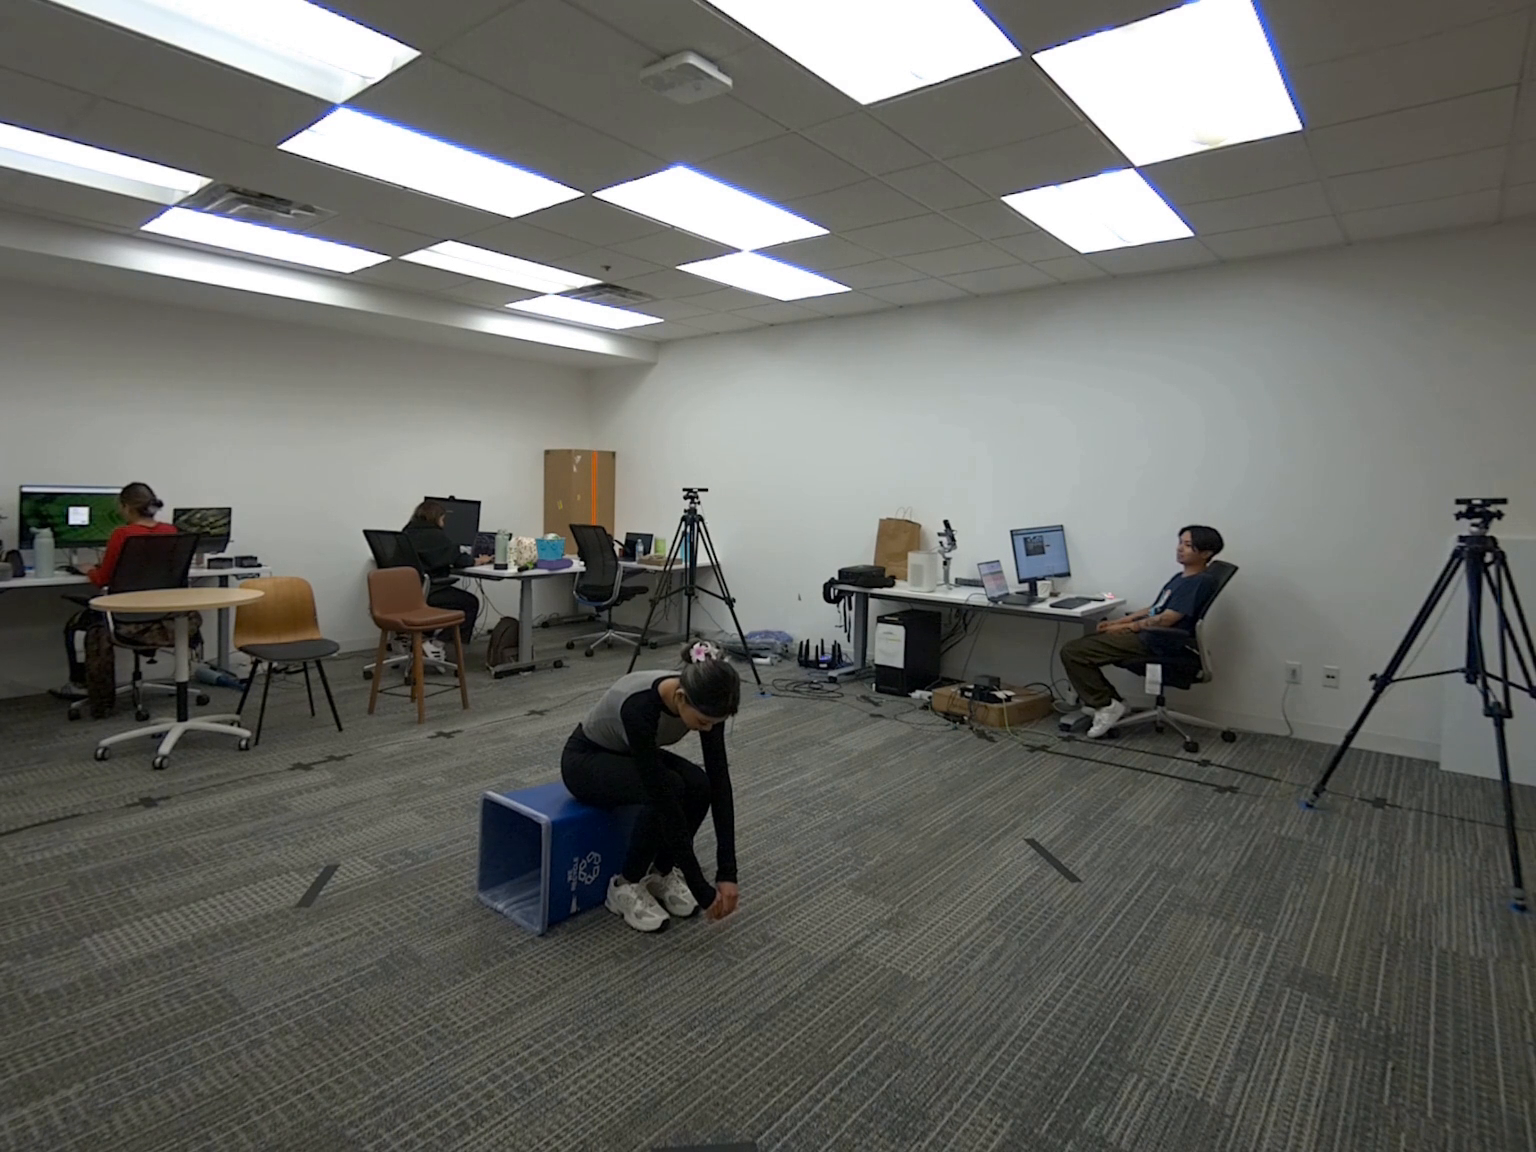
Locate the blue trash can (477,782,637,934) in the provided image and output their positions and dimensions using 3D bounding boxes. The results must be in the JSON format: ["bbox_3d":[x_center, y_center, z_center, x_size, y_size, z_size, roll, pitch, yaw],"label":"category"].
[{"bbox_3d":[-0.628,0.898,2.998,0.391,0.373,0.692,4,4,39],"label":"blue trash can"}]
